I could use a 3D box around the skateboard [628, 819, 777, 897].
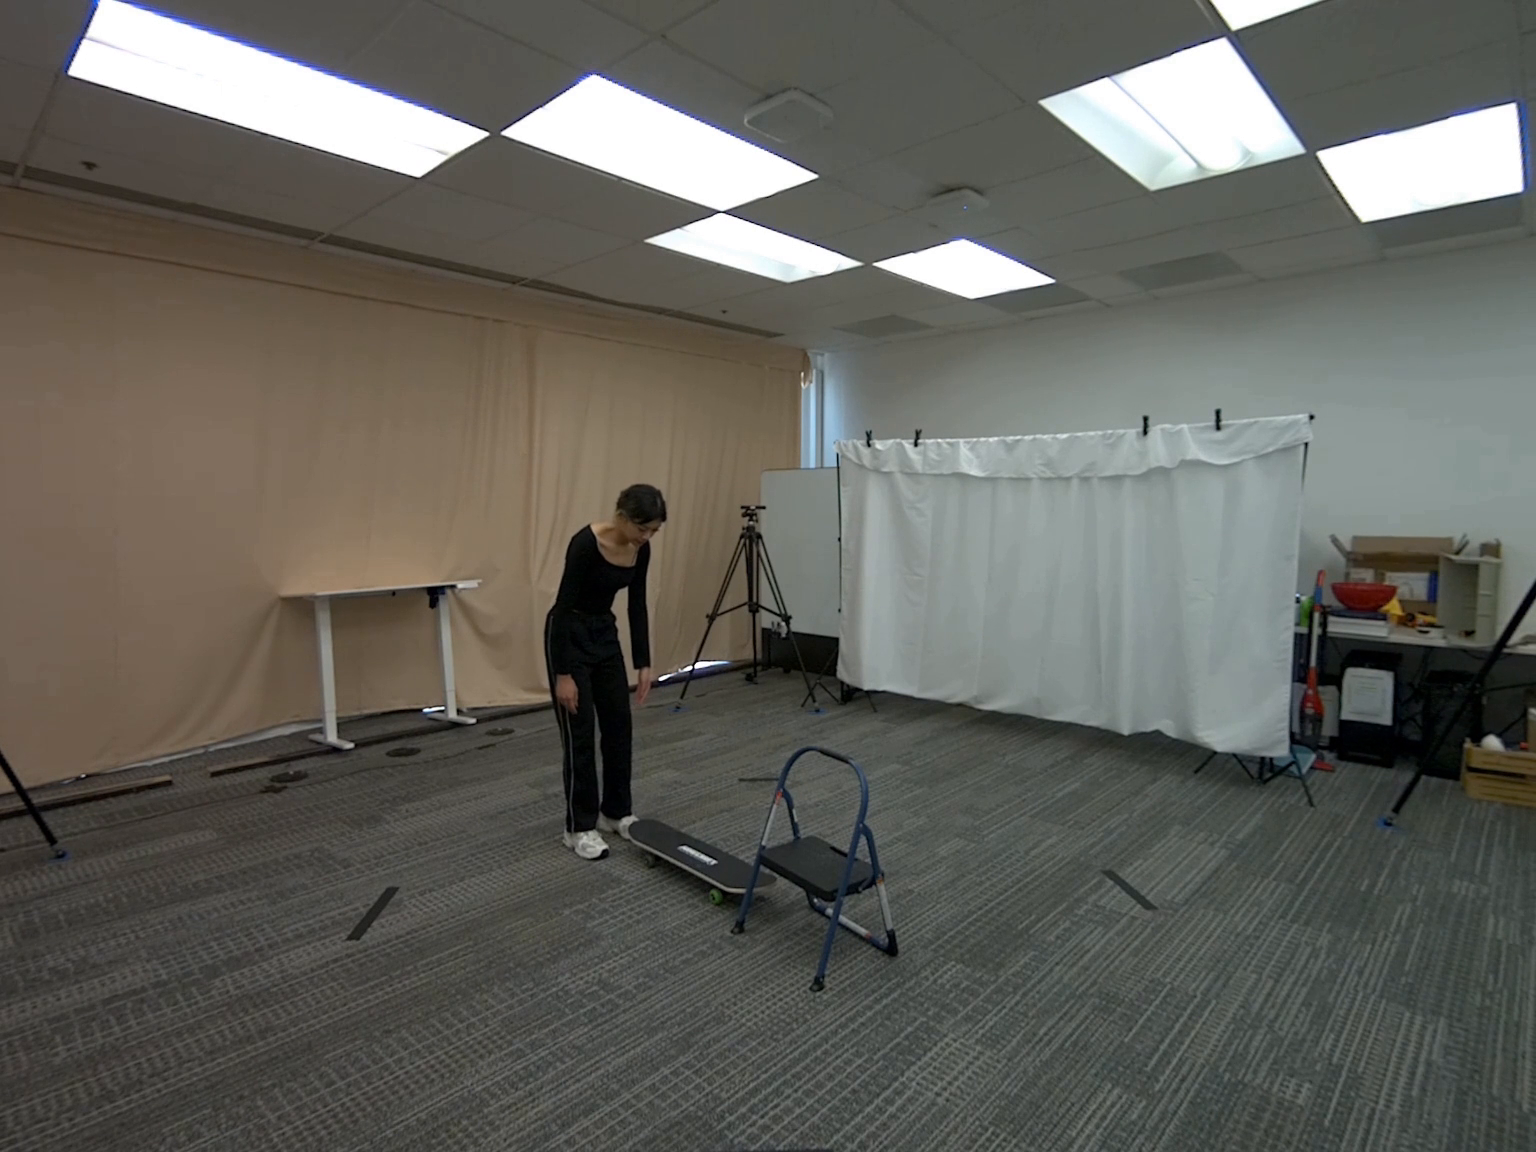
[{"bbox_3d":[-0.266,1.076,3.149,0.187,0.110,0.812,-3,5,-42],"label":"skateboard"}]
